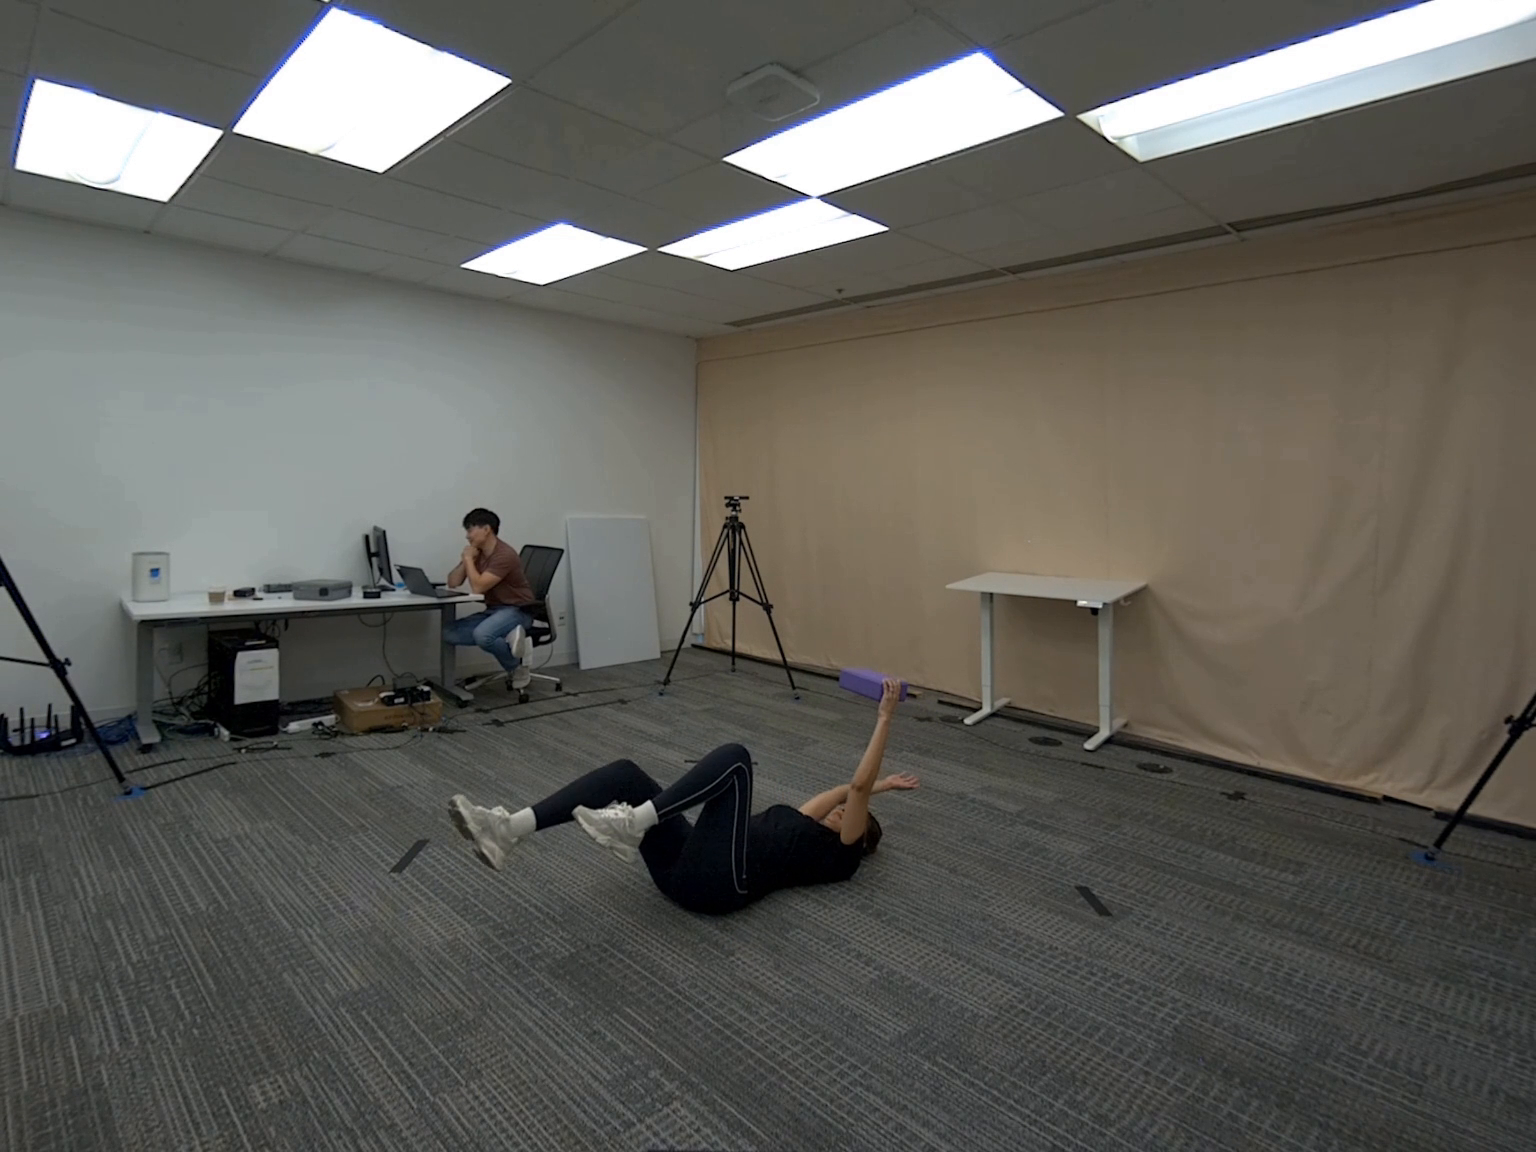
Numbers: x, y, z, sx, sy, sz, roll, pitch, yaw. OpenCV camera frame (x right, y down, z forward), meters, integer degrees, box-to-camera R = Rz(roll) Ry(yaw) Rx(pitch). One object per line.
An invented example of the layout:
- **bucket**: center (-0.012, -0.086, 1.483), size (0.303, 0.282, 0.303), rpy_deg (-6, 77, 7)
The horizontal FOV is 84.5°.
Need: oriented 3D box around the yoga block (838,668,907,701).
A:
- **yoga block**: center (0.407, 0.418, 3.225), size (0.145, 0.076, 0.235), rpy_deg (5, 4, -33)
